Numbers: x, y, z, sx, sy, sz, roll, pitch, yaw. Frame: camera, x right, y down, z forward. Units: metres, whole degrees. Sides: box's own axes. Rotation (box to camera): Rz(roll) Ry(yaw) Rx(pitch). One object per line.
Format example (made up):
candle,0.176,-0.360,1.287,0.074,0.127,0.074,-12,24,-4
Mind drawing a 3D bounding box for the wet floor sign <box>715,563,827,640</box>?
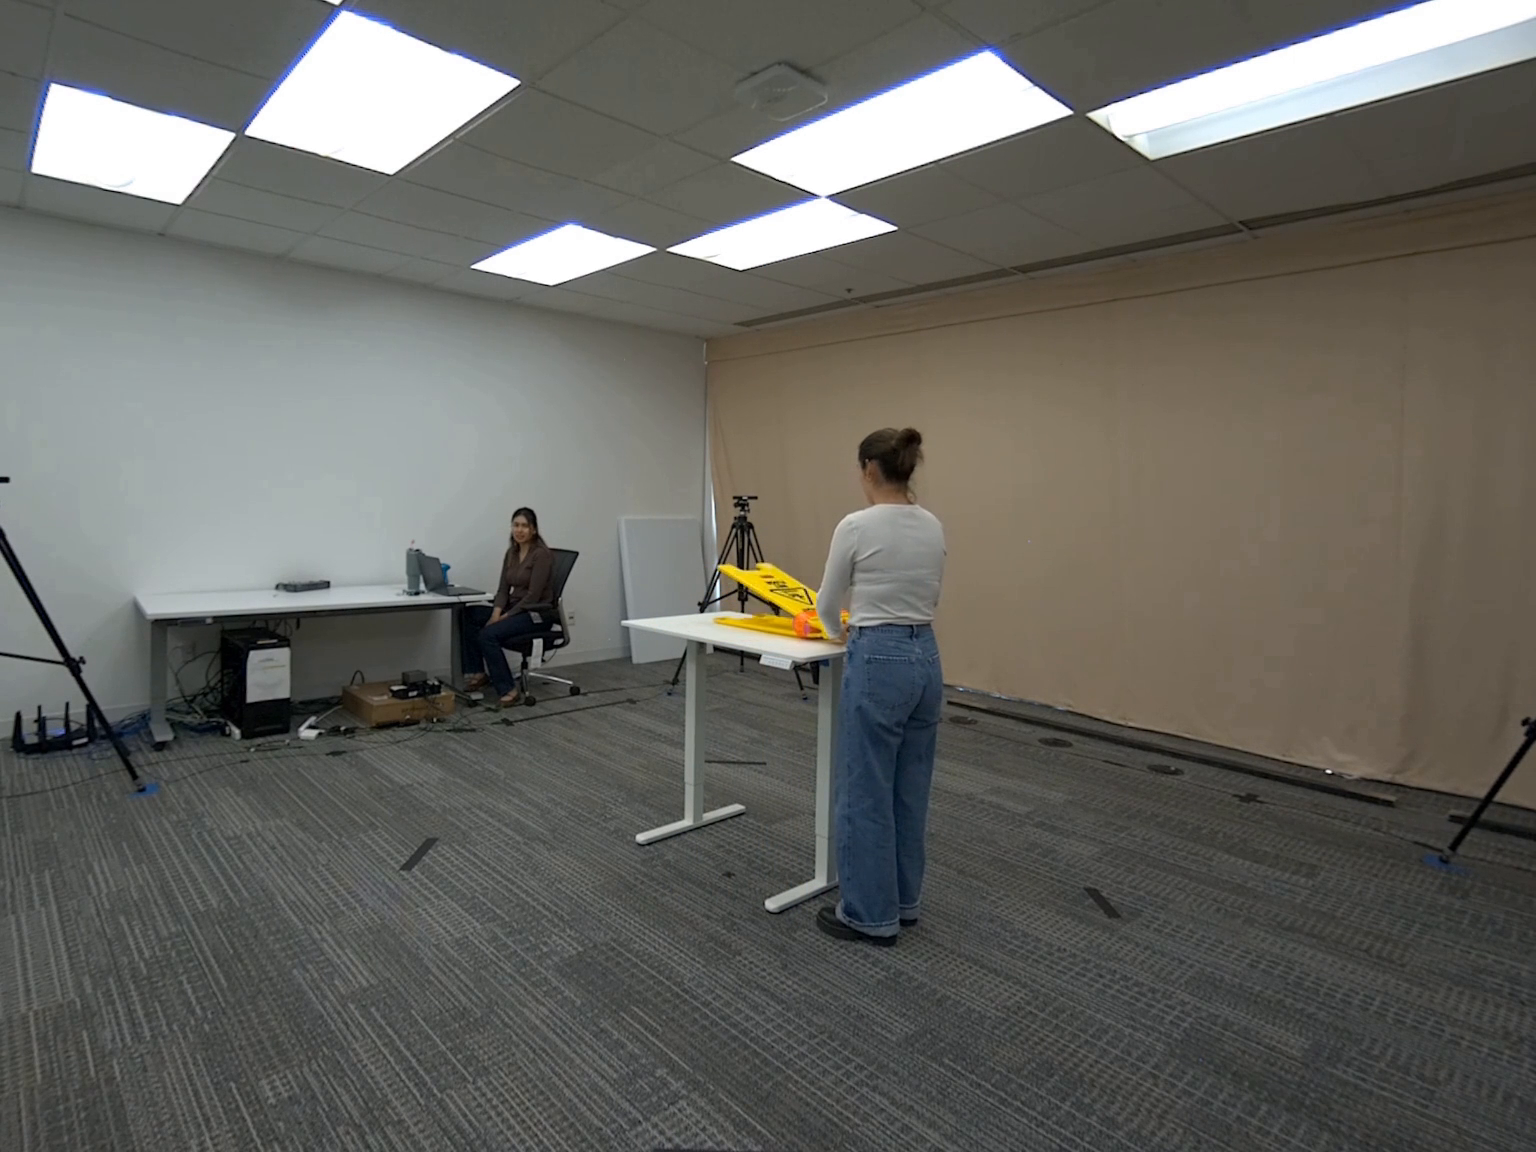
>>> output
wet floor sign,0.082,0.149,3.234,0.276,0.288,0.665,-3,14,-38
